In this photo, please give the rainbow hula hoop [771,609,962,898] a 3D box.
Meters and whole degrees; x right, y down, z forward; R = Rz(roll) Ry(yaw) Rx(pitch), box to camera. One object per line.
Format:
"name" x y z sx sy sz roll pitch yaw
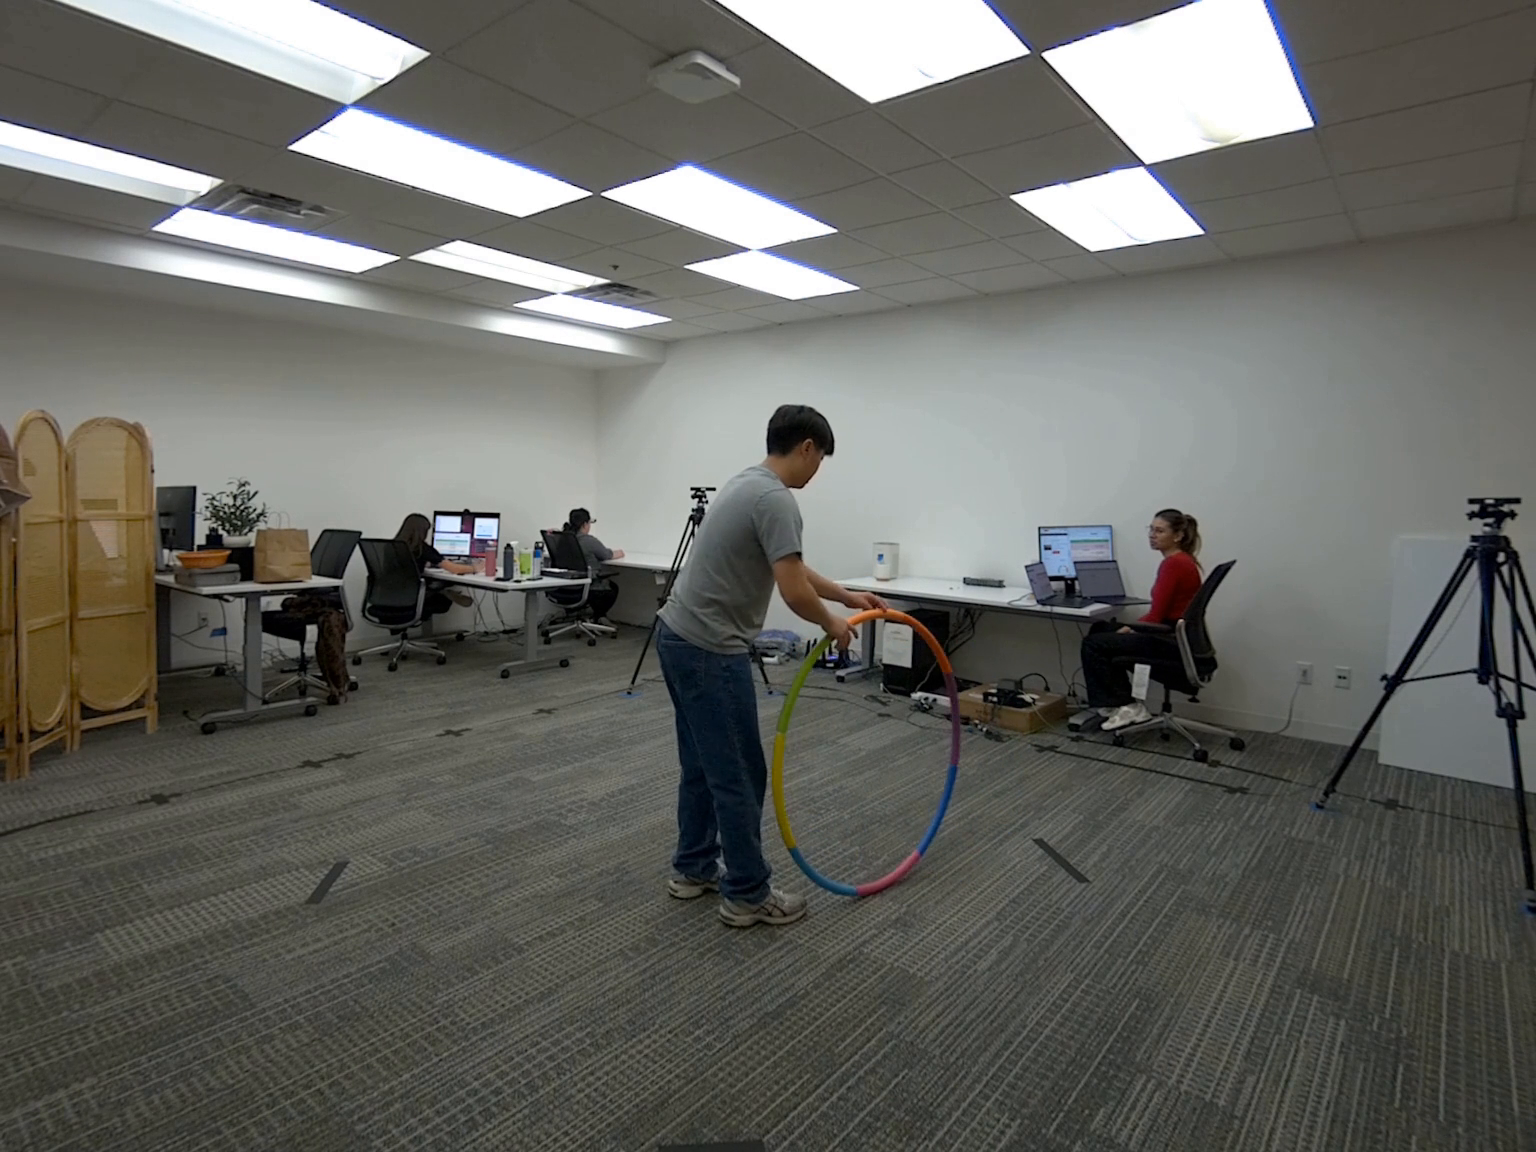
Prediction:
"rainbow hula hoop" 0.380 0.610 2.973 0.949 0.979 0.036 -3 0 -41
